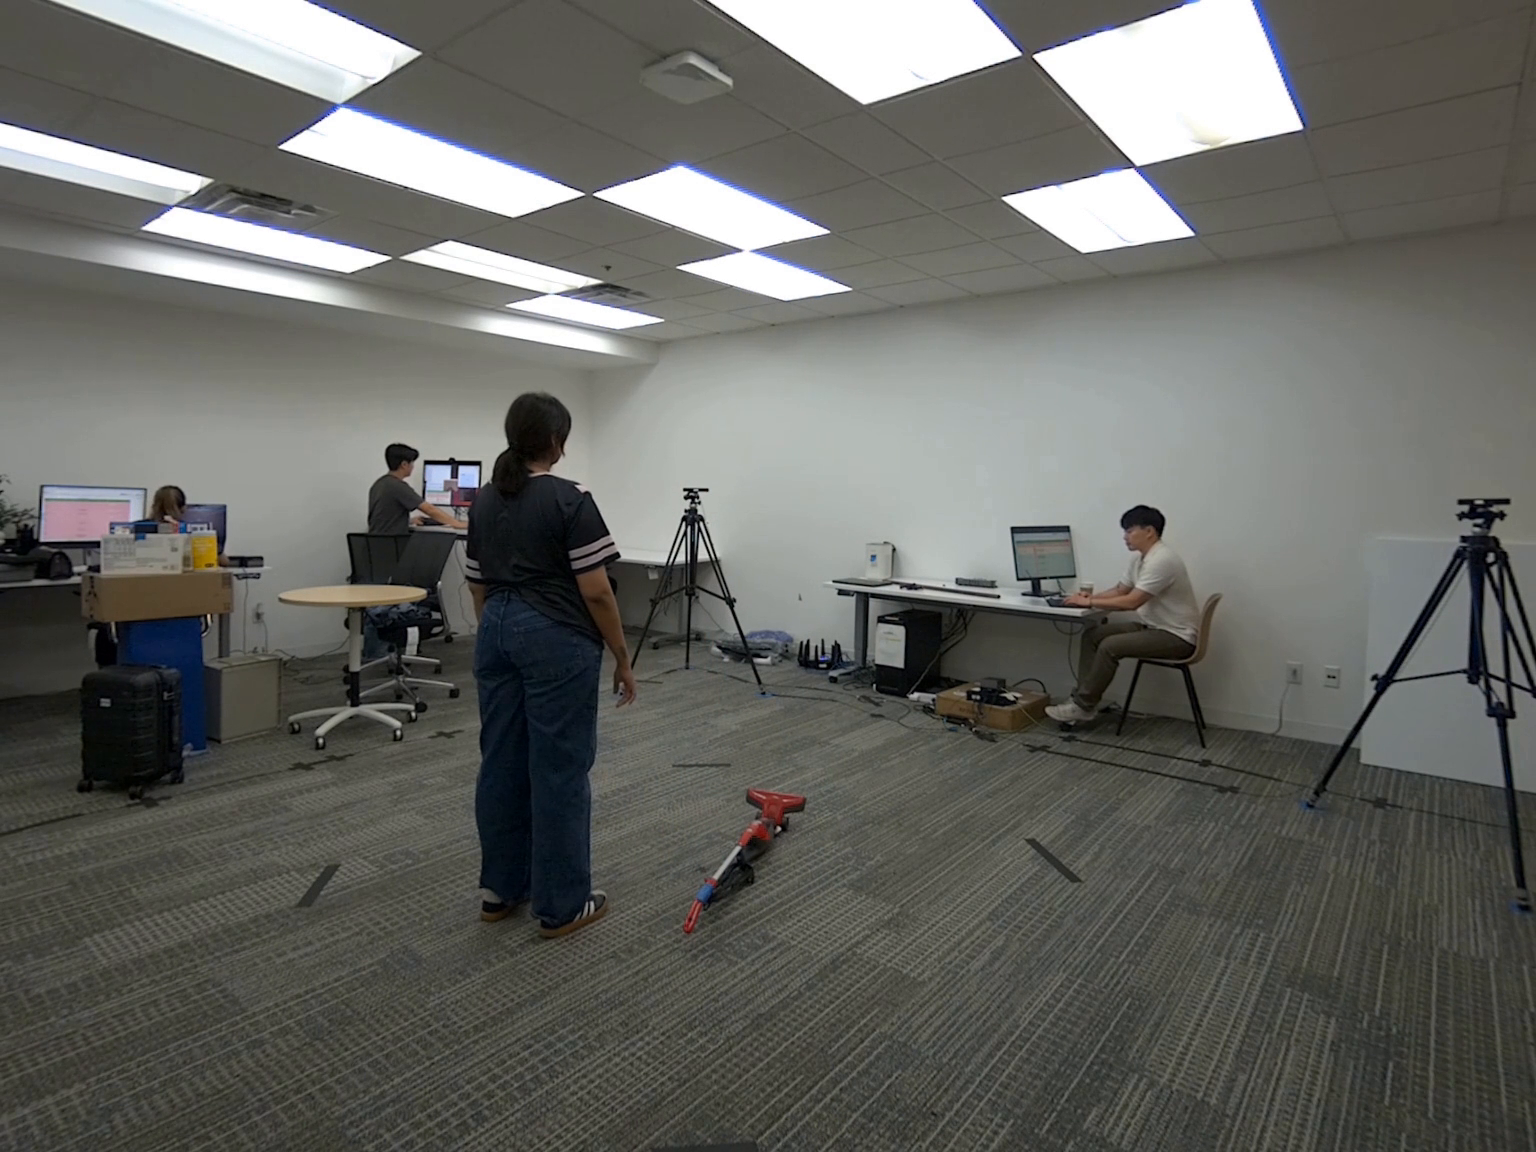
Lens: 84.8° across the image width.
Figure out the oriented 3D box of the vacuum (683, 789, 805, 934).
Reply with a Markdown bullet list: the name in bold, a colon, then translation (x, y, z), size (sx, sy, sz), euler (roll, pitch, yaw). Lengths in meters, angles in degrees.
- **vacuum**: translation (-0.116, 1.014, 3.040), size (0.257, 0.143, 1.035), euler (3, 6, 15)
